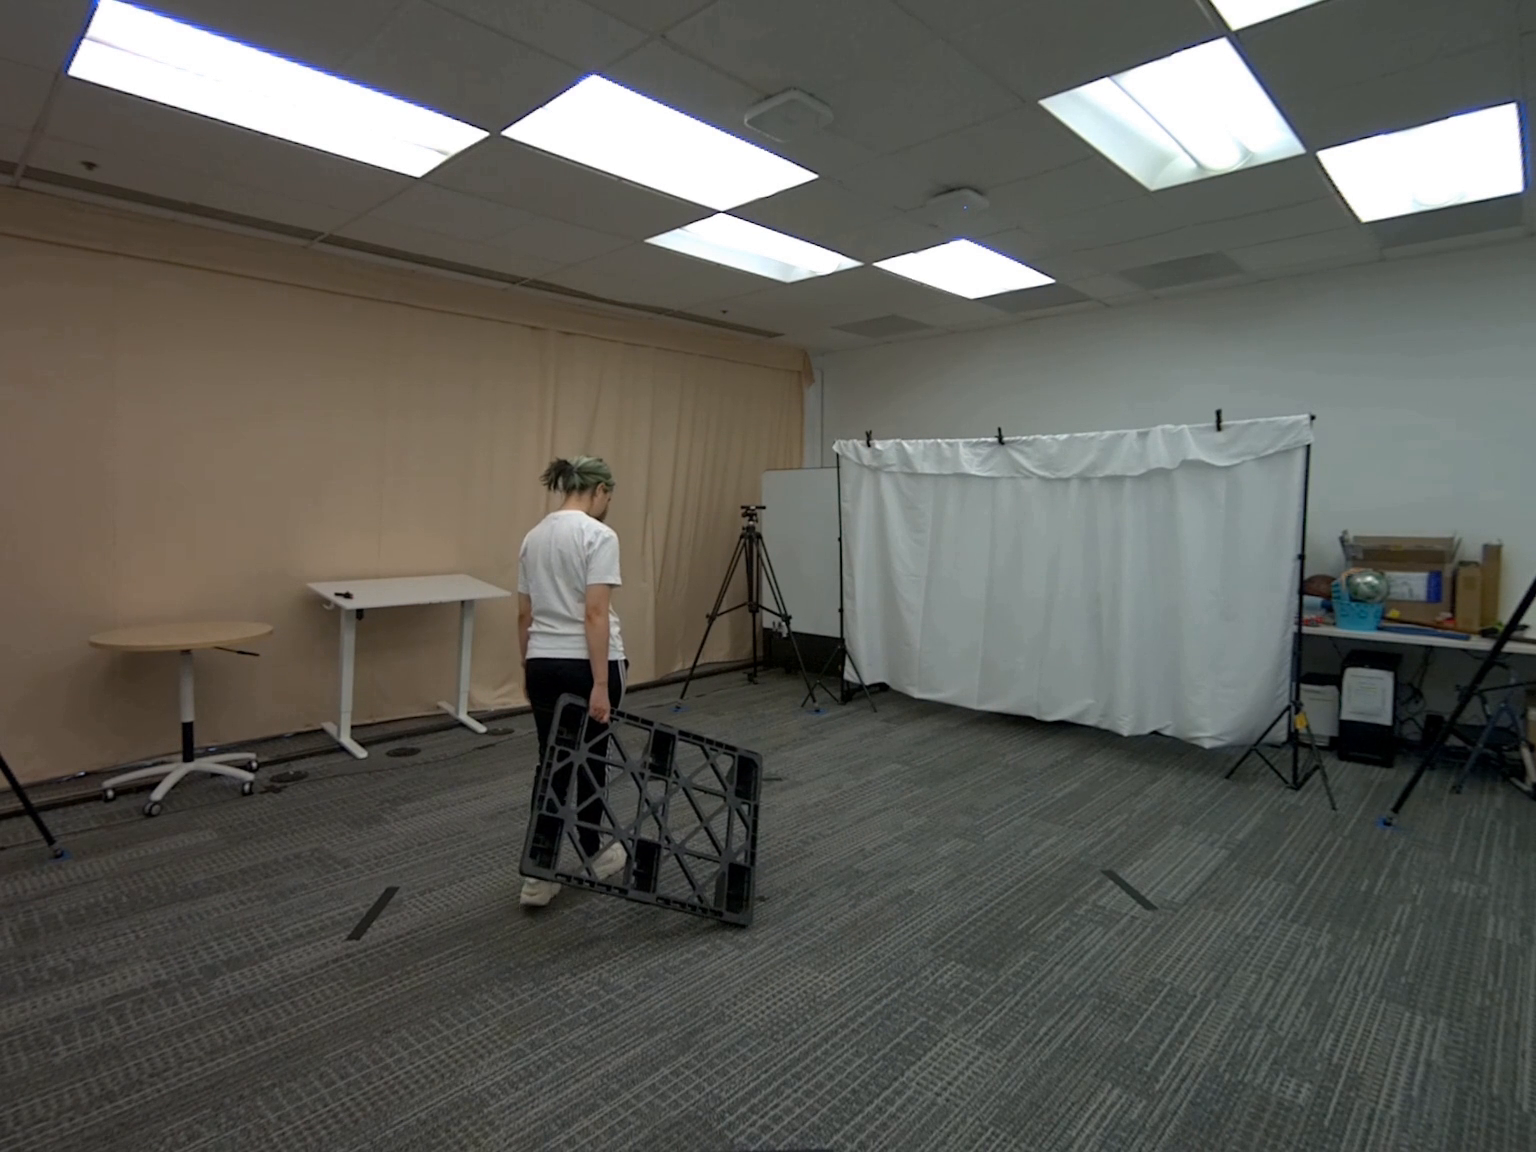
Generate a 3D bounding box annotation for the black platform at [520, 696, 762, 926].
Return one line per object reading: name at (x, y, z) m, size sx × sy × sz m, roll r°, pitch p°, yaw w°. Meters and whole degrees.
black platform at (-0.406, 0.805, 2.852) m, size 0.787 × 0.613 × 0.144 m, roll 21°, pitch -37°, yaw -20°
